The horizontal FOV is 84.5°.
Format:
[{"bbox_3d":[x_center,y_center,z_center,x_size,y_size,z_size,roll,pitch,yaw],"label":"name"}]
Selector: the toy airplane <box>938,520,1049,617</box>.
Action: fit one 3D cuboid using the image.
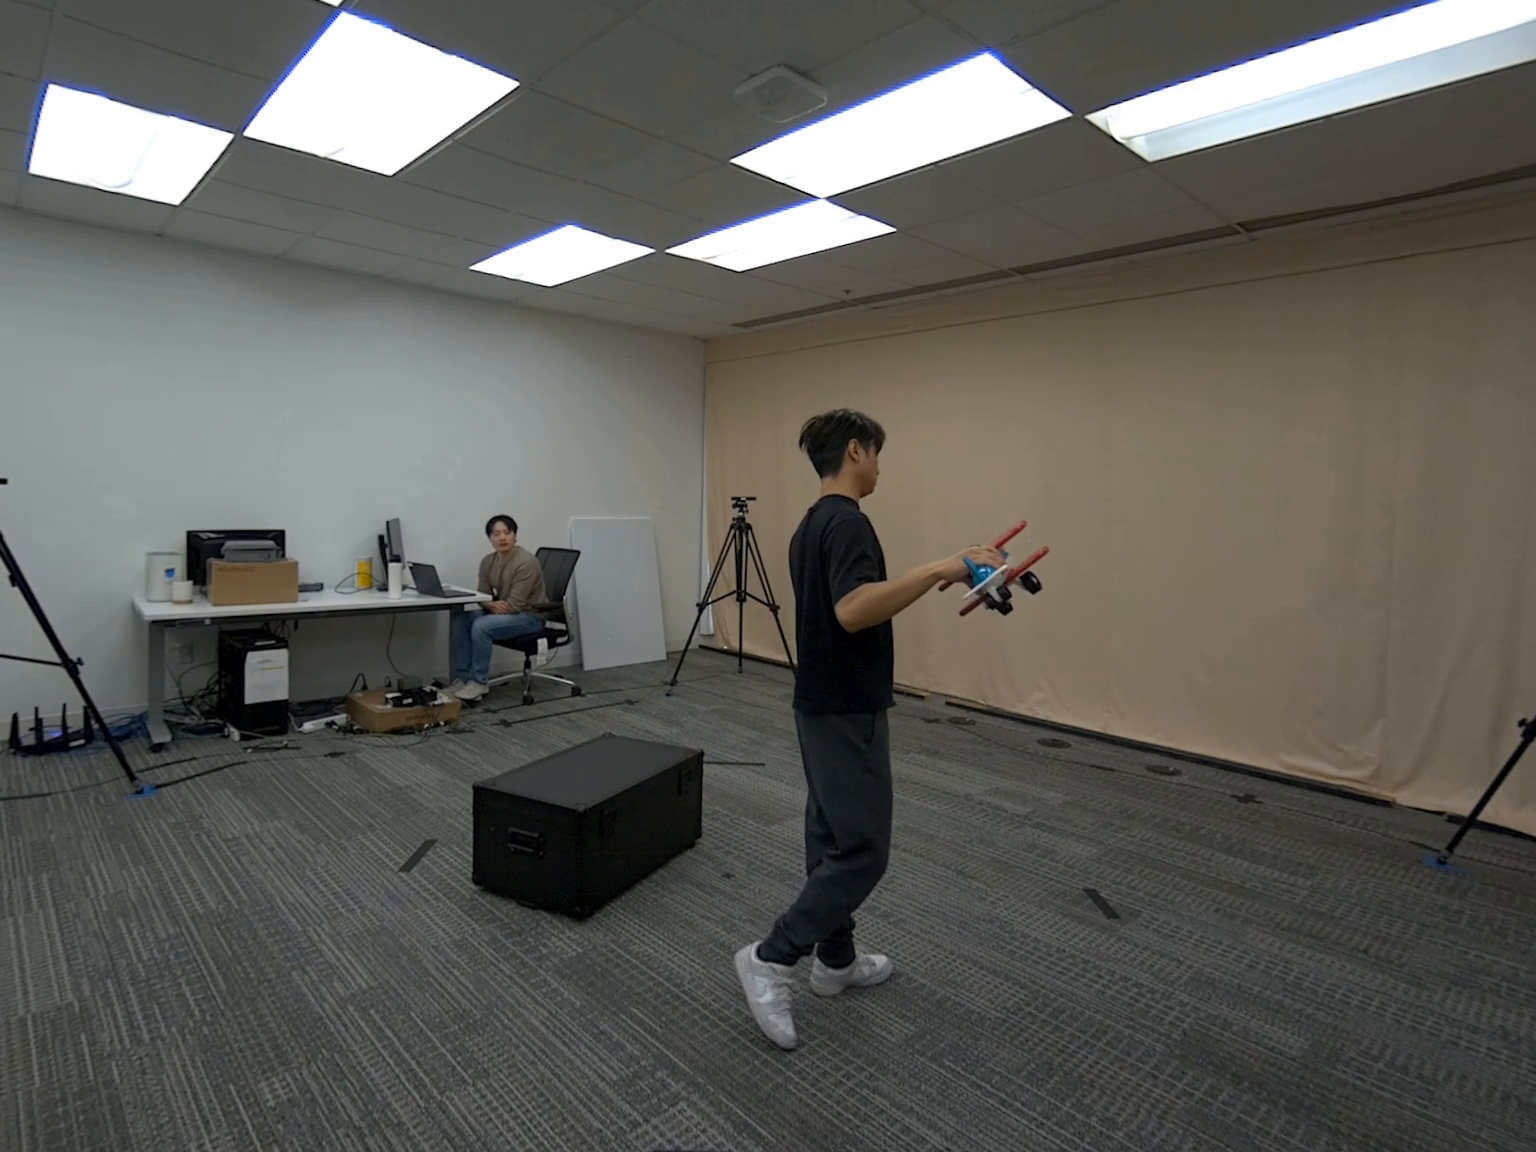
[{"bbox_3d":[0.538,-0.010,1.934,0.251,0.159,0.254,-33,-19,-3],"label":"toy airplane"}]
